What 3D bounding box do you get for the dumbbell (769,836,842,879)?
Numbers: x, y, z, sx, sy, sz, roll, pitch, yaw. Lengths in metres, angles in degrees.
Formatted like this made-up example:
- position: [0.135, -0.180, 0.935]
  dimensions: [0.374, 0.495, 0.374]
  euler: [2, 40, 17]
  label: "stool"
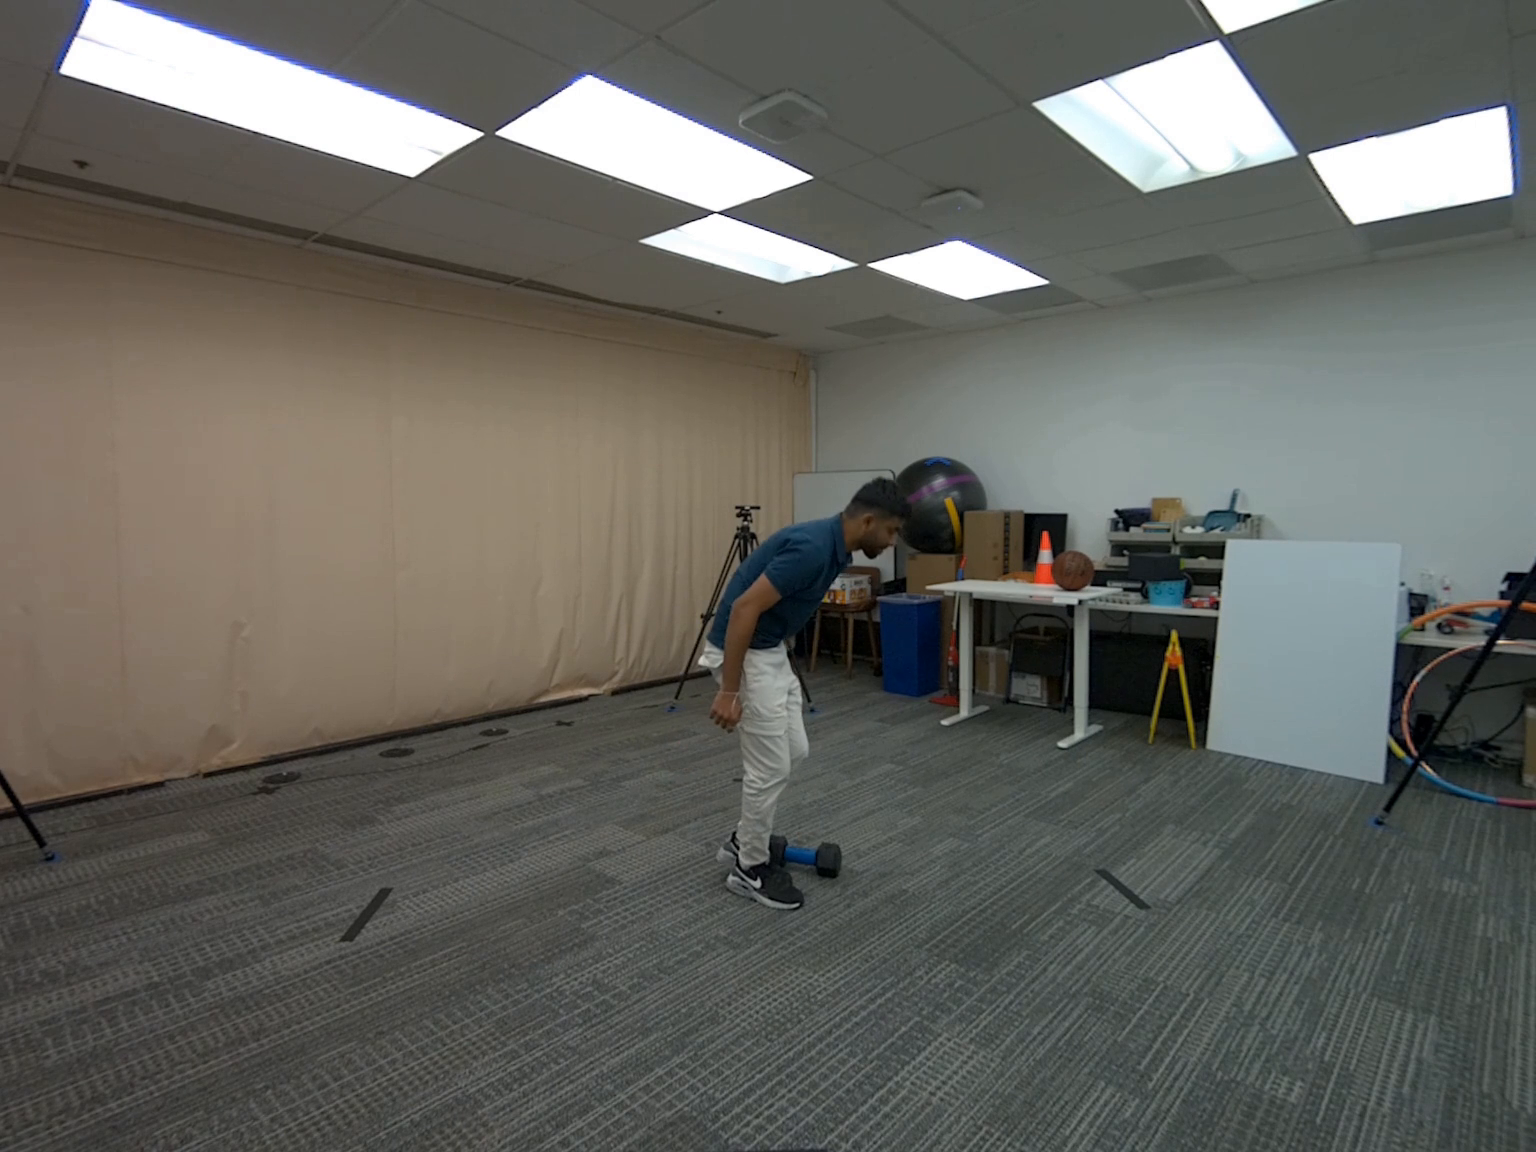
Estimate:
- position: [0.128, 1.065, 3.229]
  dimensions: [0.300, 0.108, 0.121]
  euler: [0, 11, 22]
  label: "dumbbell"
